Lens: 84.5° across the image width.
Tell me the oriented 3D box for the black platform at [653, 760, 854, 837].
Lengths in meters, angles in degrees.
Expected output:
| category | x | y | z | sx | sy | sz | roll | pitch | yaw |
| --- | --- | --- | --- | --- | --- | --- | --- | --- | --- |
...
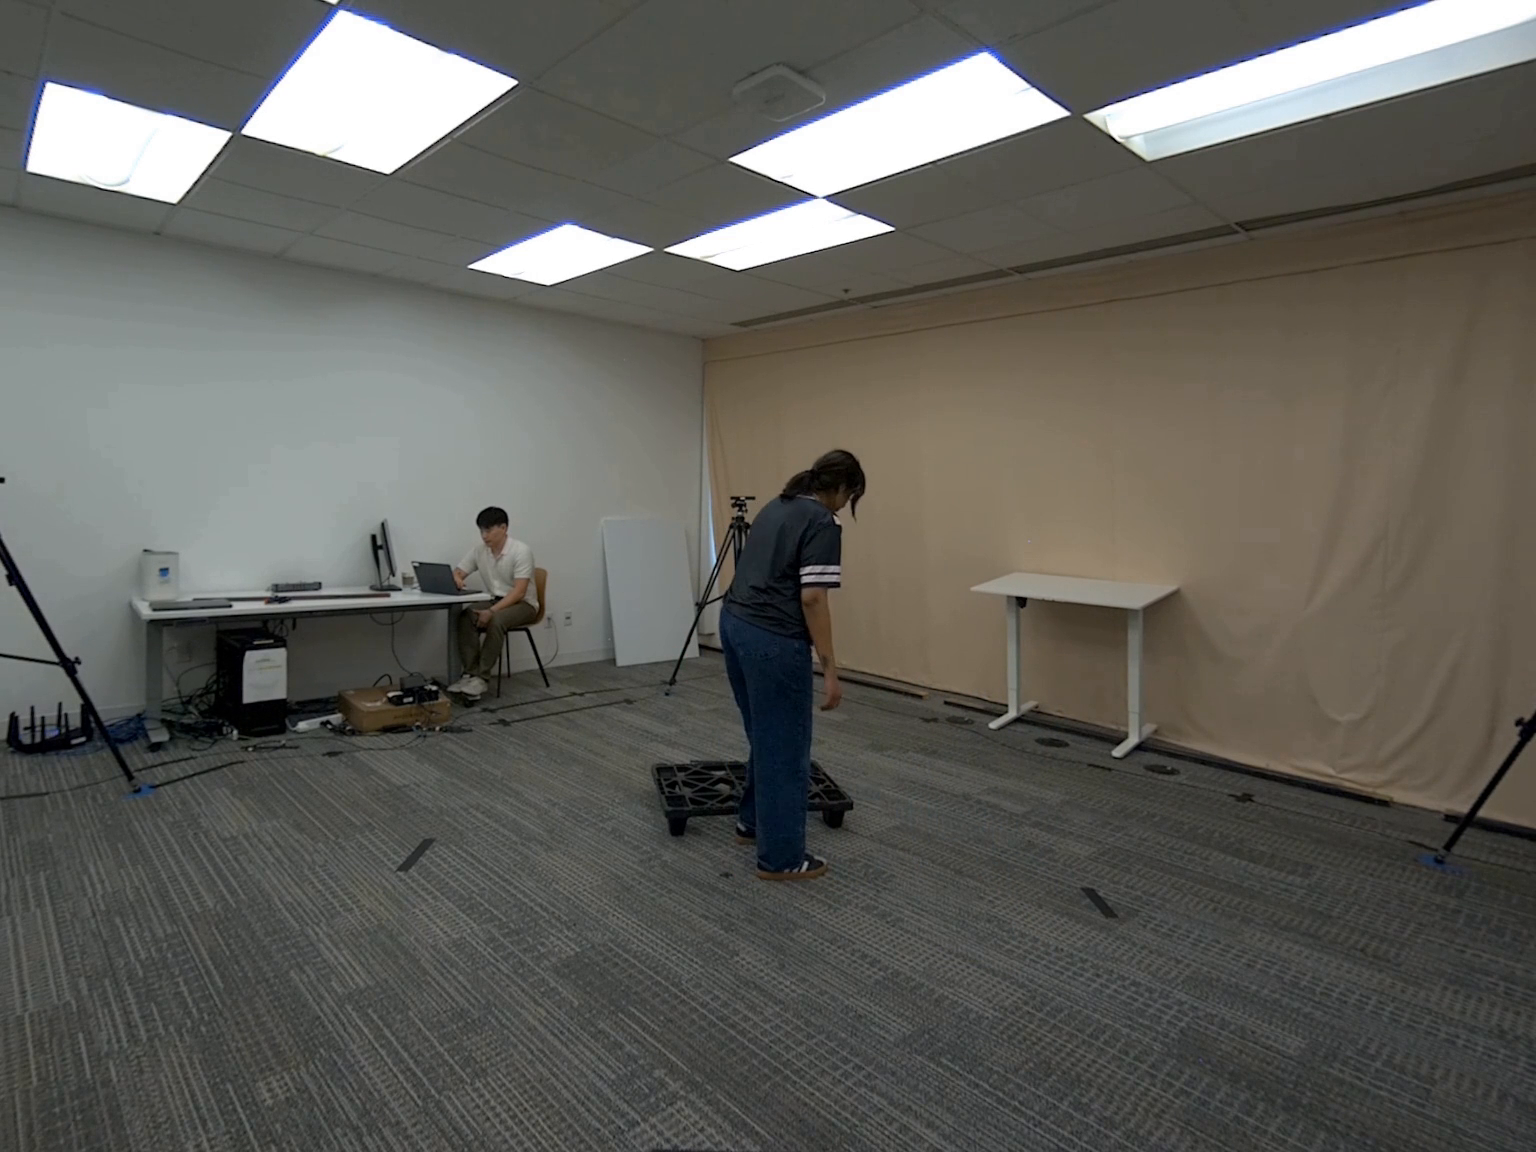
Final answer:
| category | x | y | z | sx | sy | sz | roll | pitch | yaw |
| --- | --- | --- | --- | --- | --- | --- | --- | --- | --- |
| black platform | -0.098 | 0.983 | 3.748 | 0.798 | 0.143 | 0.613 | 0 | 6 | -12 |
